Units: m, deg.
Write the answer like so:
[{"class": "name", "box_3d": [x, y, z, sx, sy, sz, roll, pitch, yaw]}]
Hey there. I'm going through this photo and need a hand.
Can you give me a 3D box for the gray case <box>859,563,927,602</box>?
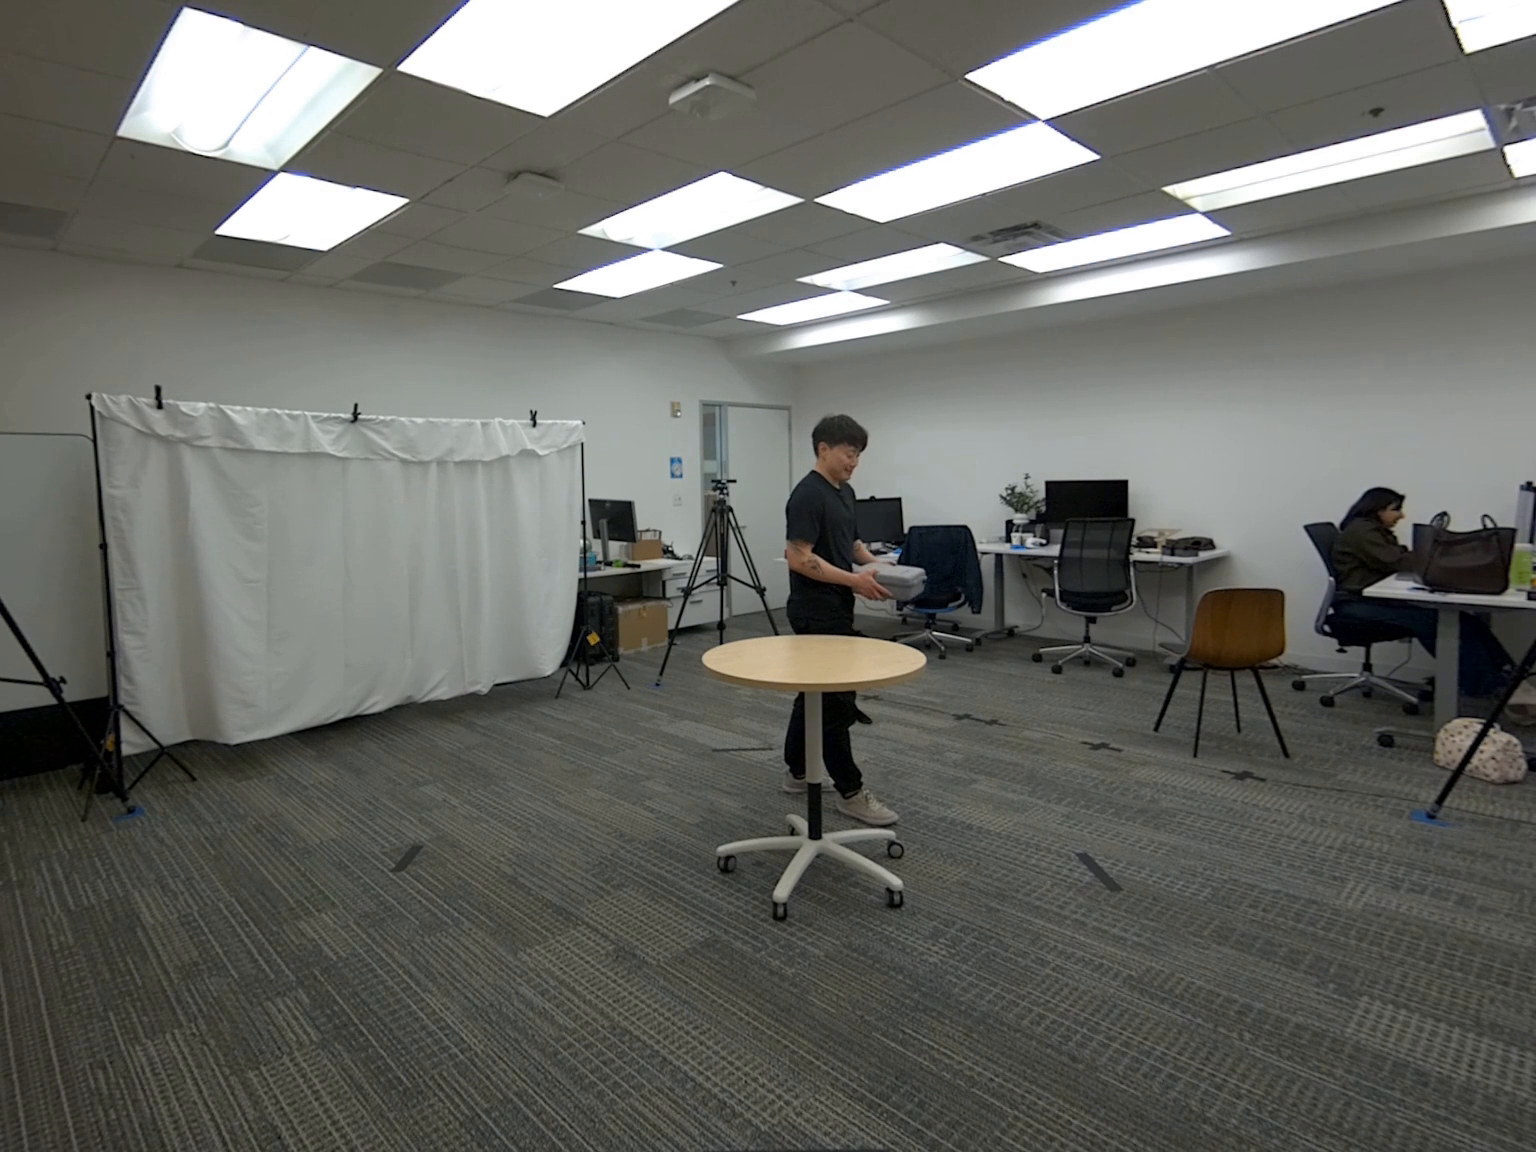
[{"class": "gray case", "box_3d": [0.501, 0.024, 3.540, 0.267, 0.103, 0.252, 6, 11, 26]}]
